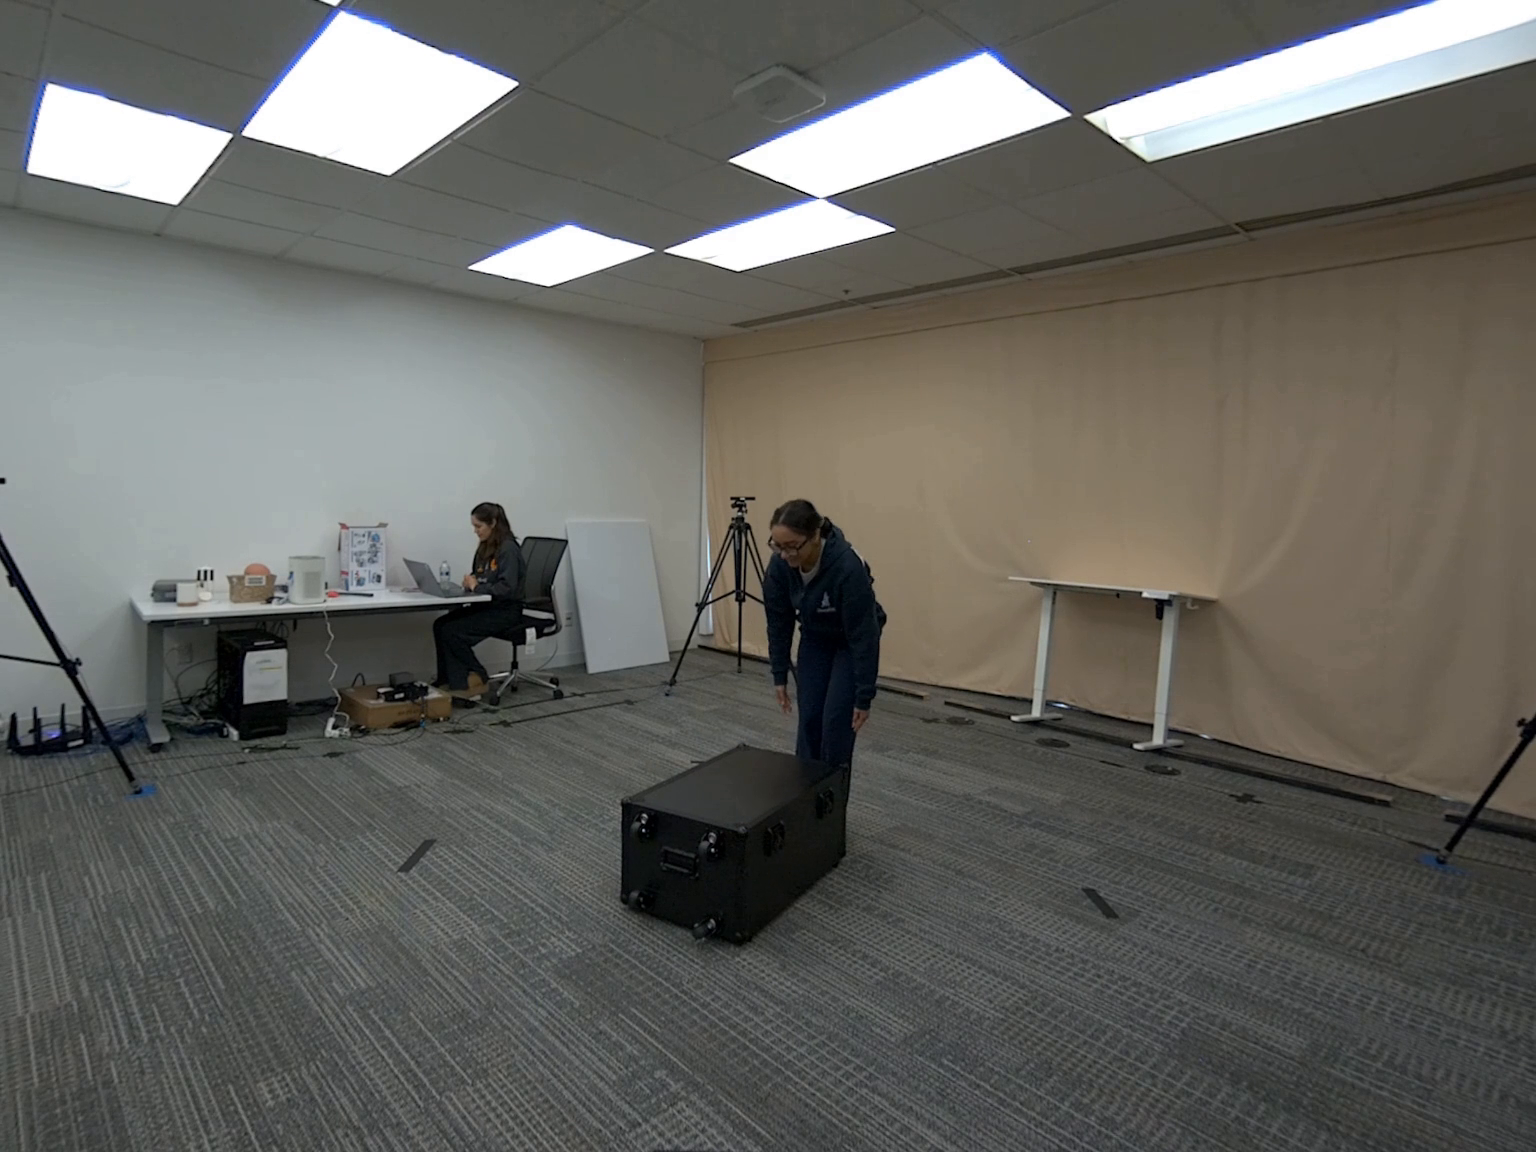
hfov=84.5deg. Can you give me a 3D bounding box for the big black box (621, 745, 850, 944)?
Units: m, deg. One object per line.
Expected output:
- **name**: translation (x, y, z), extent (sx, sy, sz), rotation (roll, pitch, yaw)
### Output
- **big black box**: translation (-0.122, 0.925, 3.001), extent (0.532, 0.395, 0.845), rotation (4, 5, 29)
